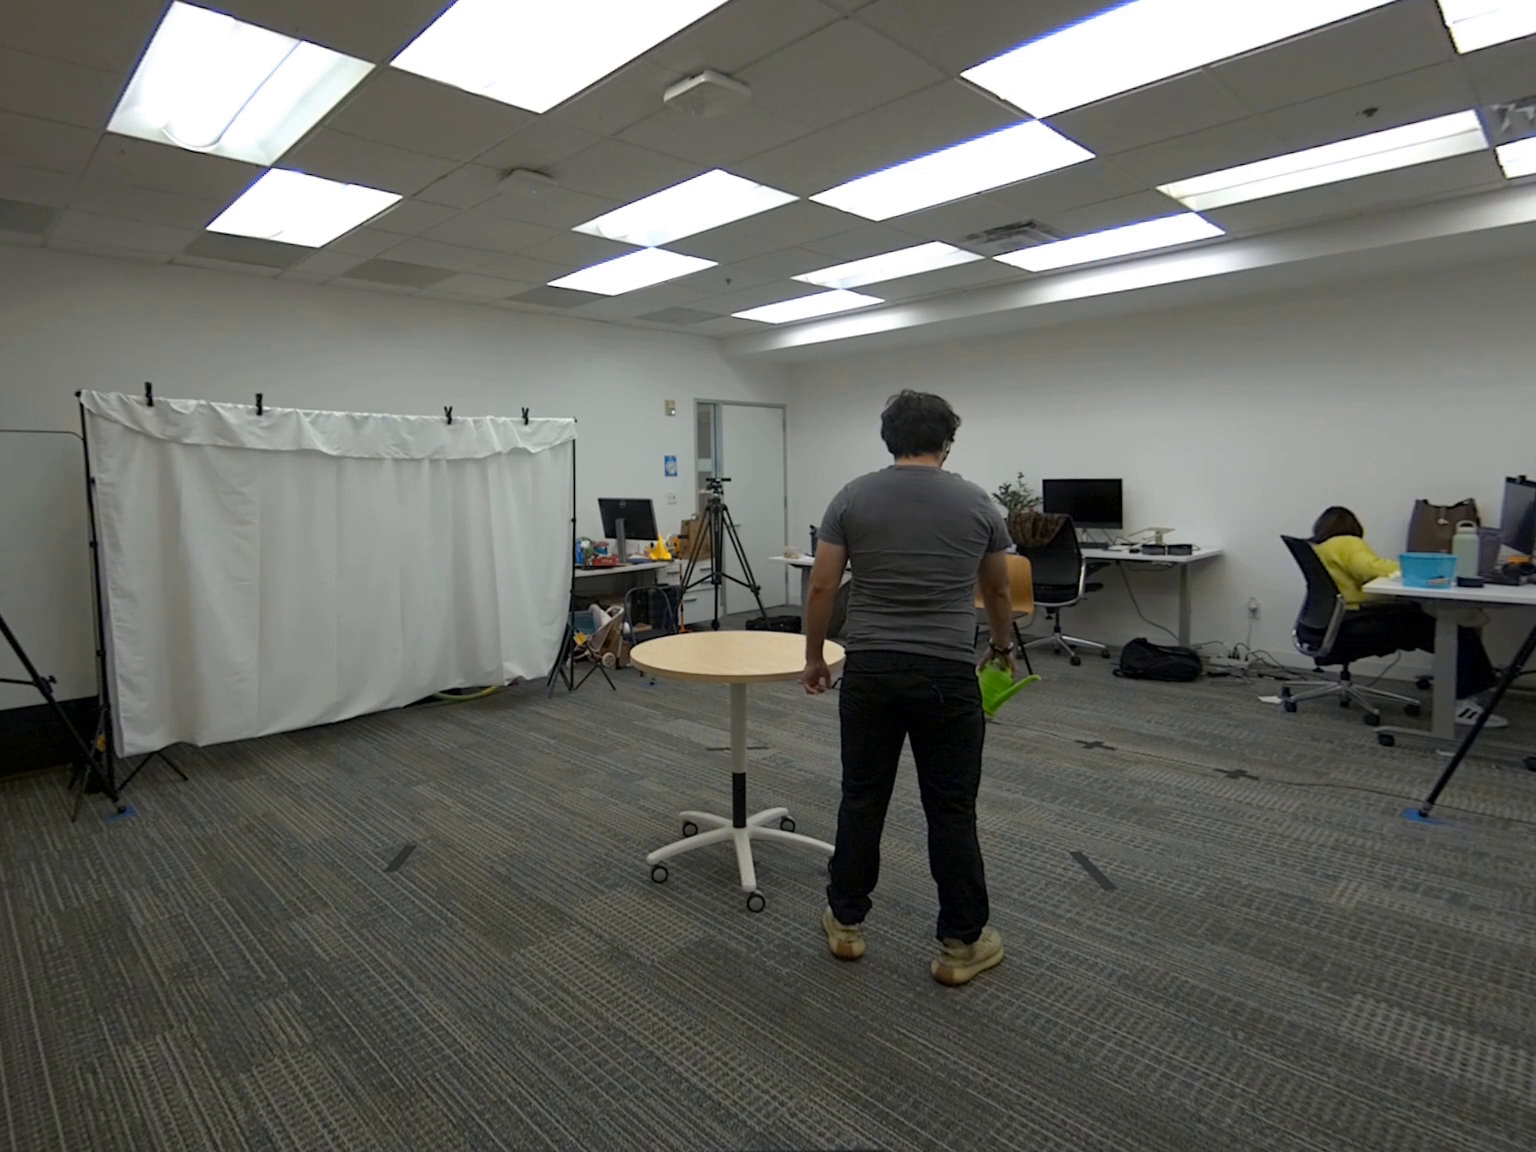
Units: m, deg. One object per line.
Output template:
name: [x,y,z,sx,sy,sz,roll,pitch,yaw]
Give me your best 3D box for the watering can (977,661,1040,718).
watering can: [0.732,0.344,2.693,0.097,0.177,0.280,31,0,-6]
